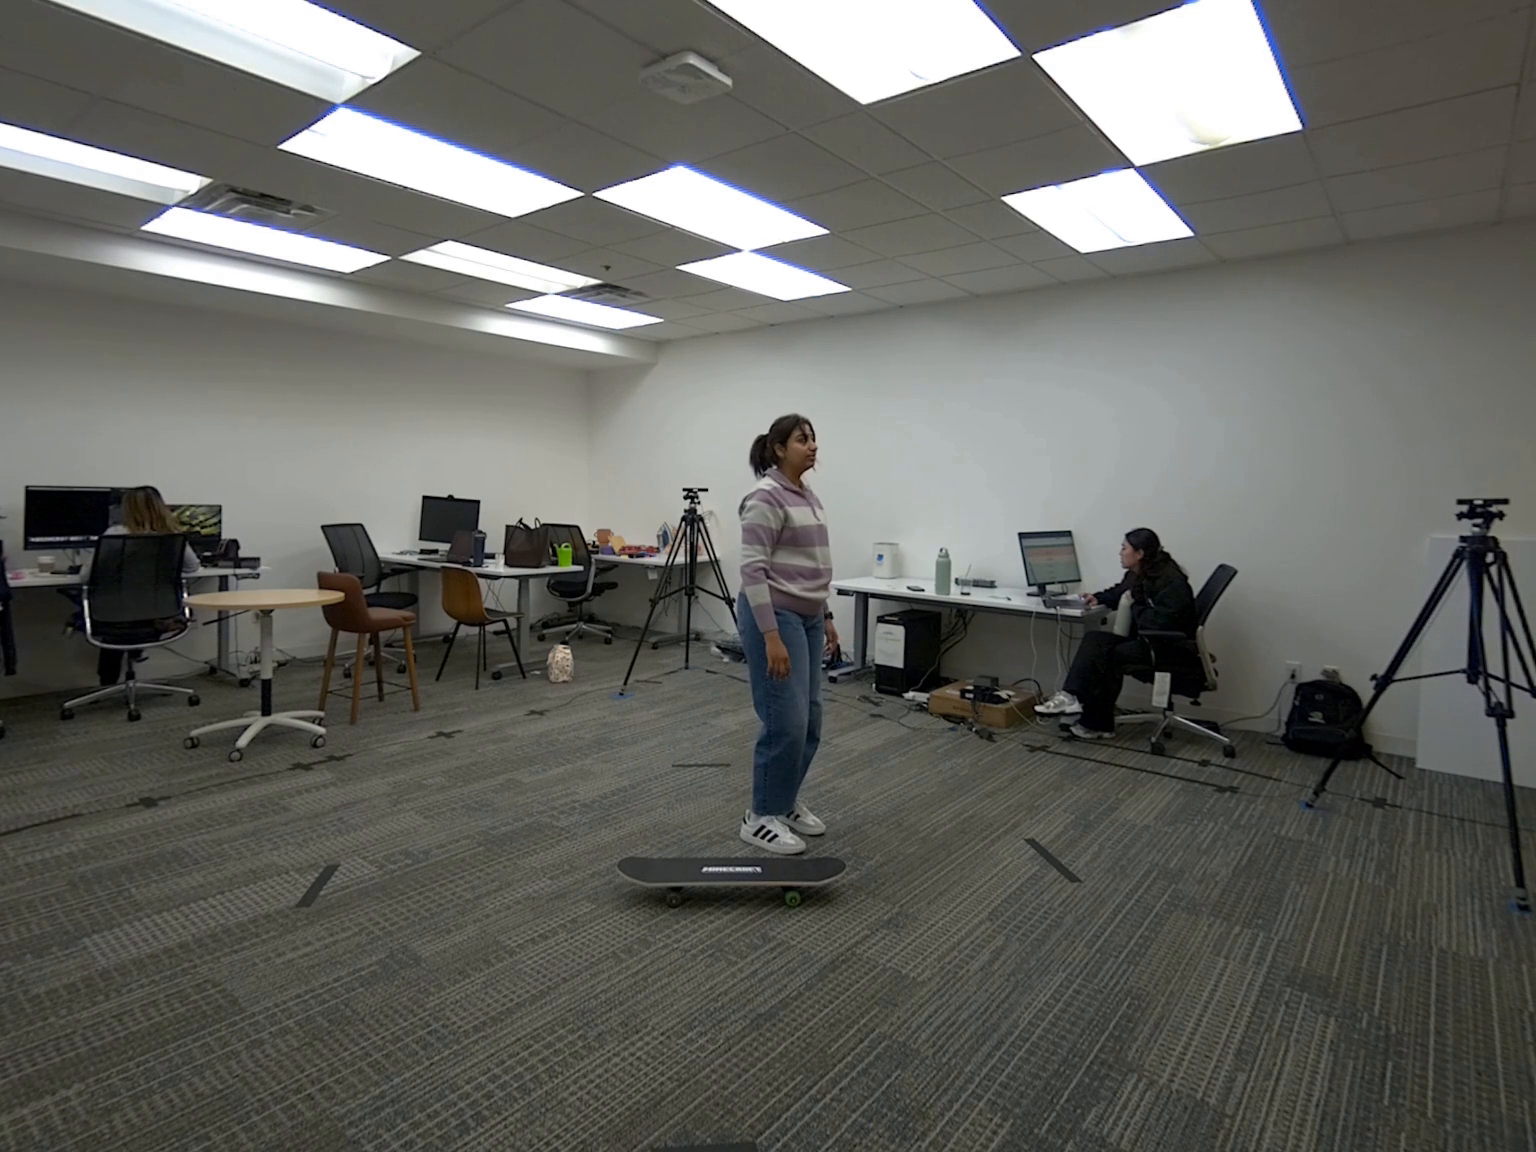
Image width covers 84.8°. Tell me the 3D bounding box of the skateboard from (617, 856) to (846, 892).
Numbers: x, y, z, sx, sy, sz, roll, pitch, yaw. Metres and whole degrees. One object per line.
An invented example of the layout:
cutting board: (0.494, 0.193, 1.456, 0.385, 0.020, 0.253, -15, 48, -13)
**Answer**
skateboard: (-0.138, 1.036, 2.913, 0.783, 0.110, 0.195, 1, 4, -3)
